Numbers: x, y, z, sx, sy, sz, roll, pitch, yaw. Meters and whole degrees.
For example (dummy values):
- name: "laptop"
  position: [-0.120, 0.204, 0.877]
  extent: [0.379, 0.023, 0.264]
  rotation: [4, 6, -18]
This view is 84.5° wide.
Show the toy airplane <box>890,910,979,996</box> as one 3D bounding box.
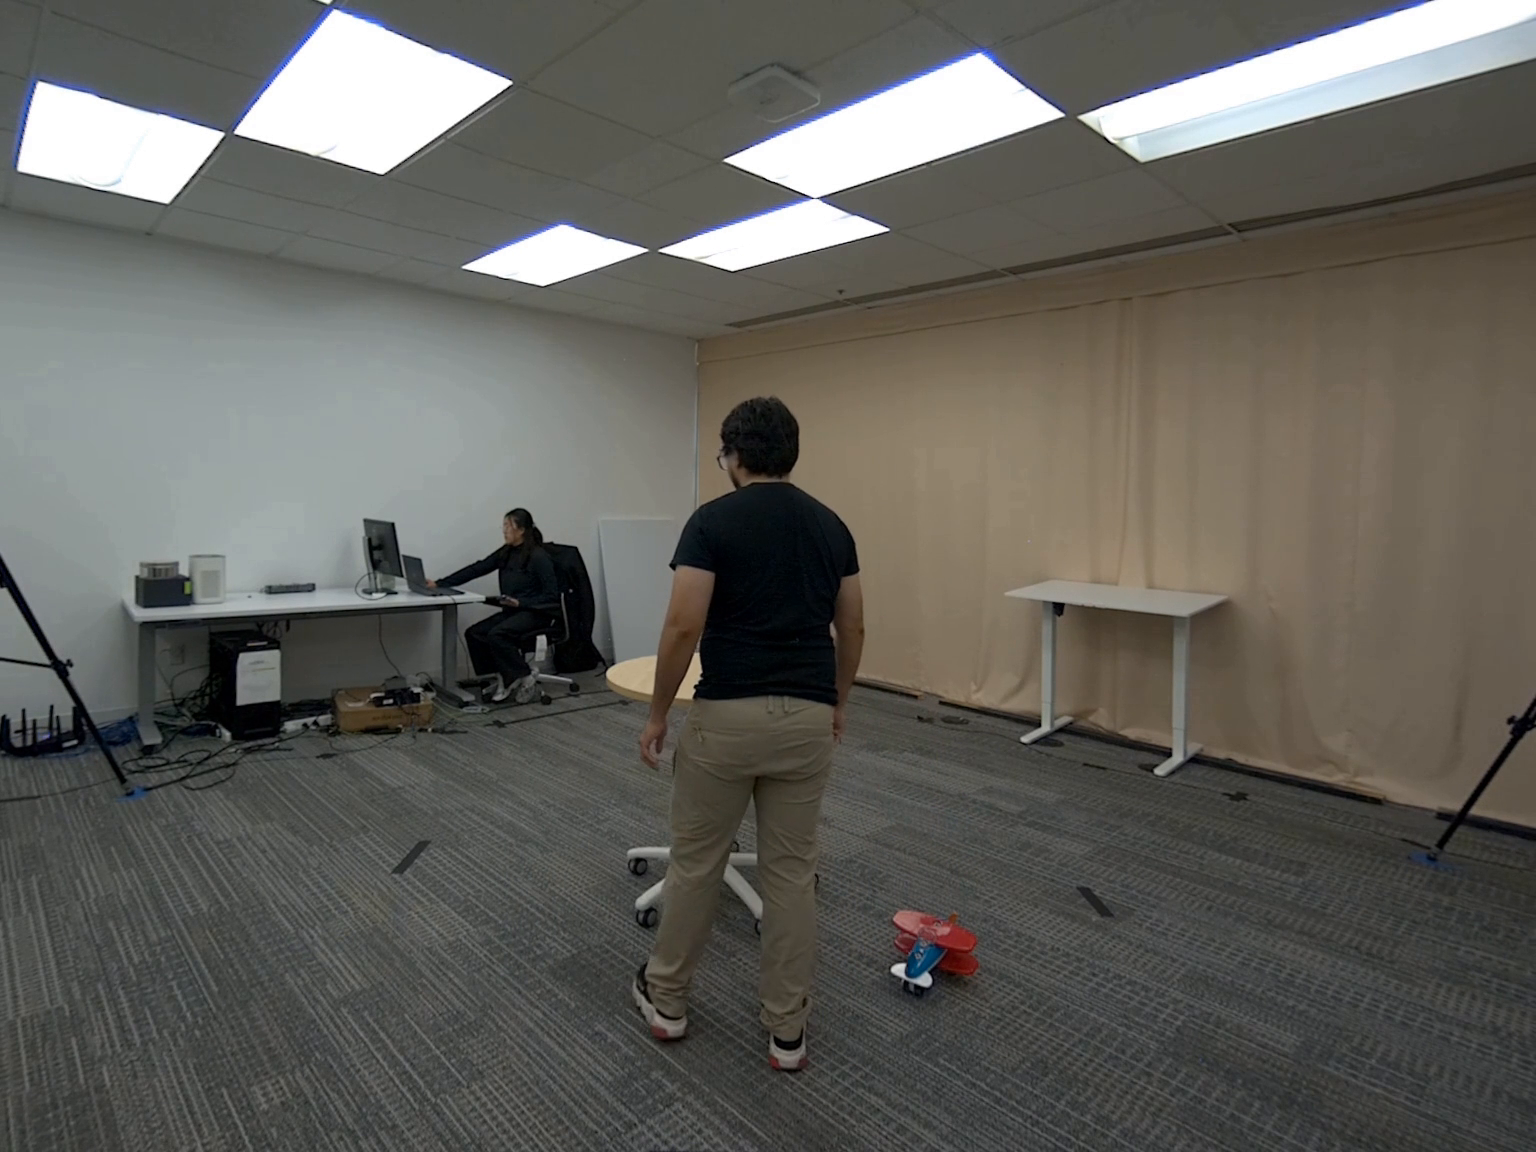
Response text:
- name: "toy airplane"
  position: [0.483, 1.109, 2.448]
  extent: [0.253, 0.156, 0.257]
  rotation: [3, 3, 9]
